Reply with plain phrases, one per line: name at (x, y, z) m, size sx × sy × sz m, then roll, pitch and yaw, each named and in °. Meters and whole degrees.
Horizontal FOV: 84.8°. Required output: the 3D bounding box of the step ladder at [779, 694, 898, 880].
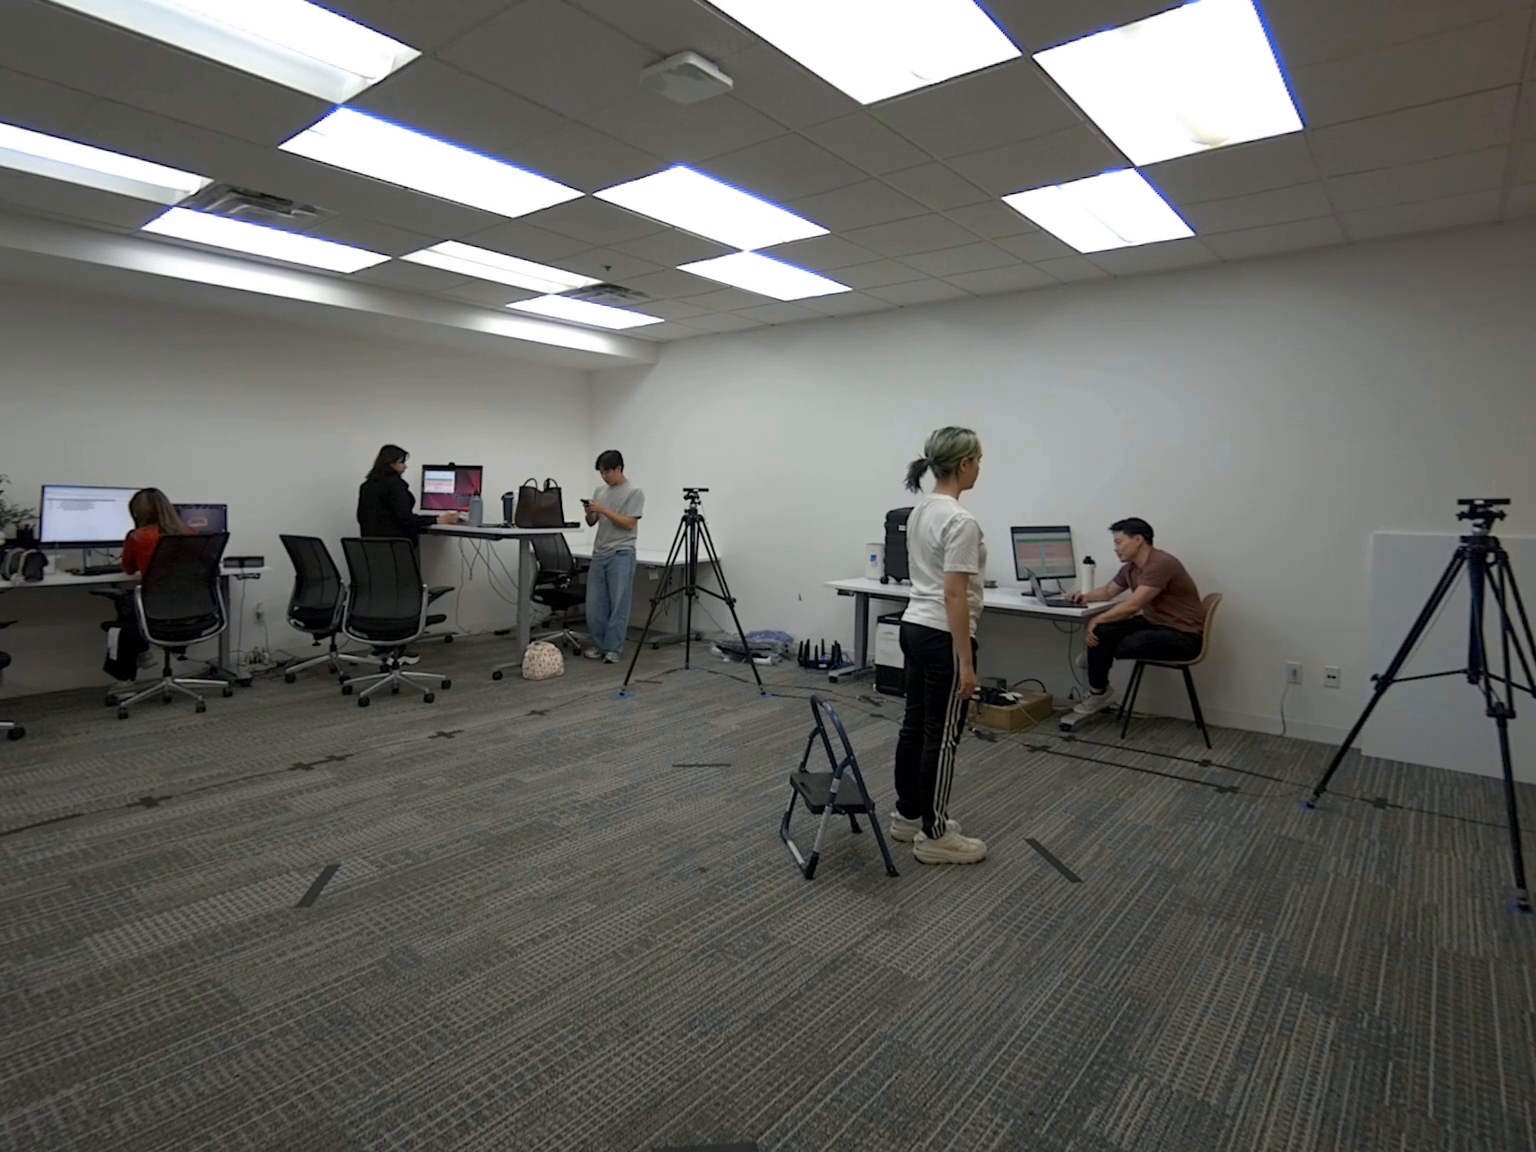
step ladder at (0.258, 0.770, 3.250) m, size 0.345 × 0.604 × 0.438 m, roll 1°, pitch 3°, yaw -13°
